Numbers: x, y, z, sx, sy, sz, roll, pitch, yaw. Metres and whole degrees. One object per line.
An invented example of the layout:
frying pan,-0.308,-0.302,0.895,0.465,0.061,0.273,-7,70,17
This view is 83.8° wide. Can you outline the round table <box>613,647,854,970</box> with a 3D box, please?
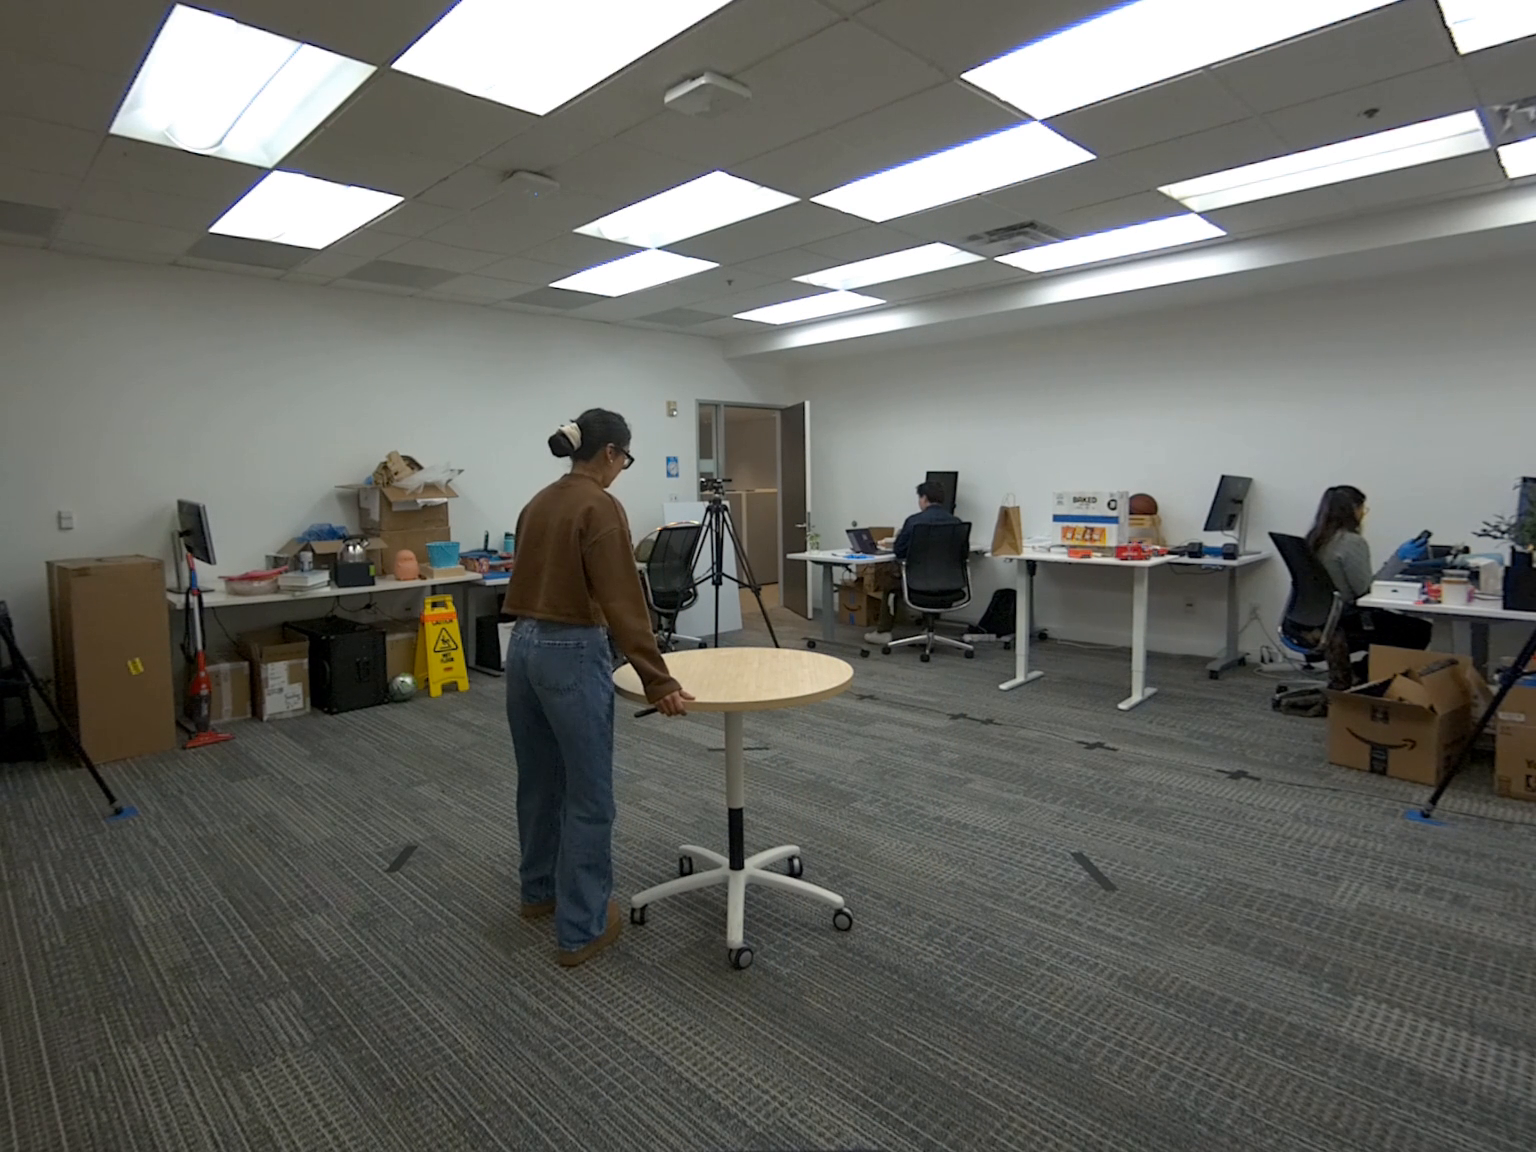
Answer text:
round table,-0.104,0.694,2.758,0.763,0.791,0.768,-1,5,-2
